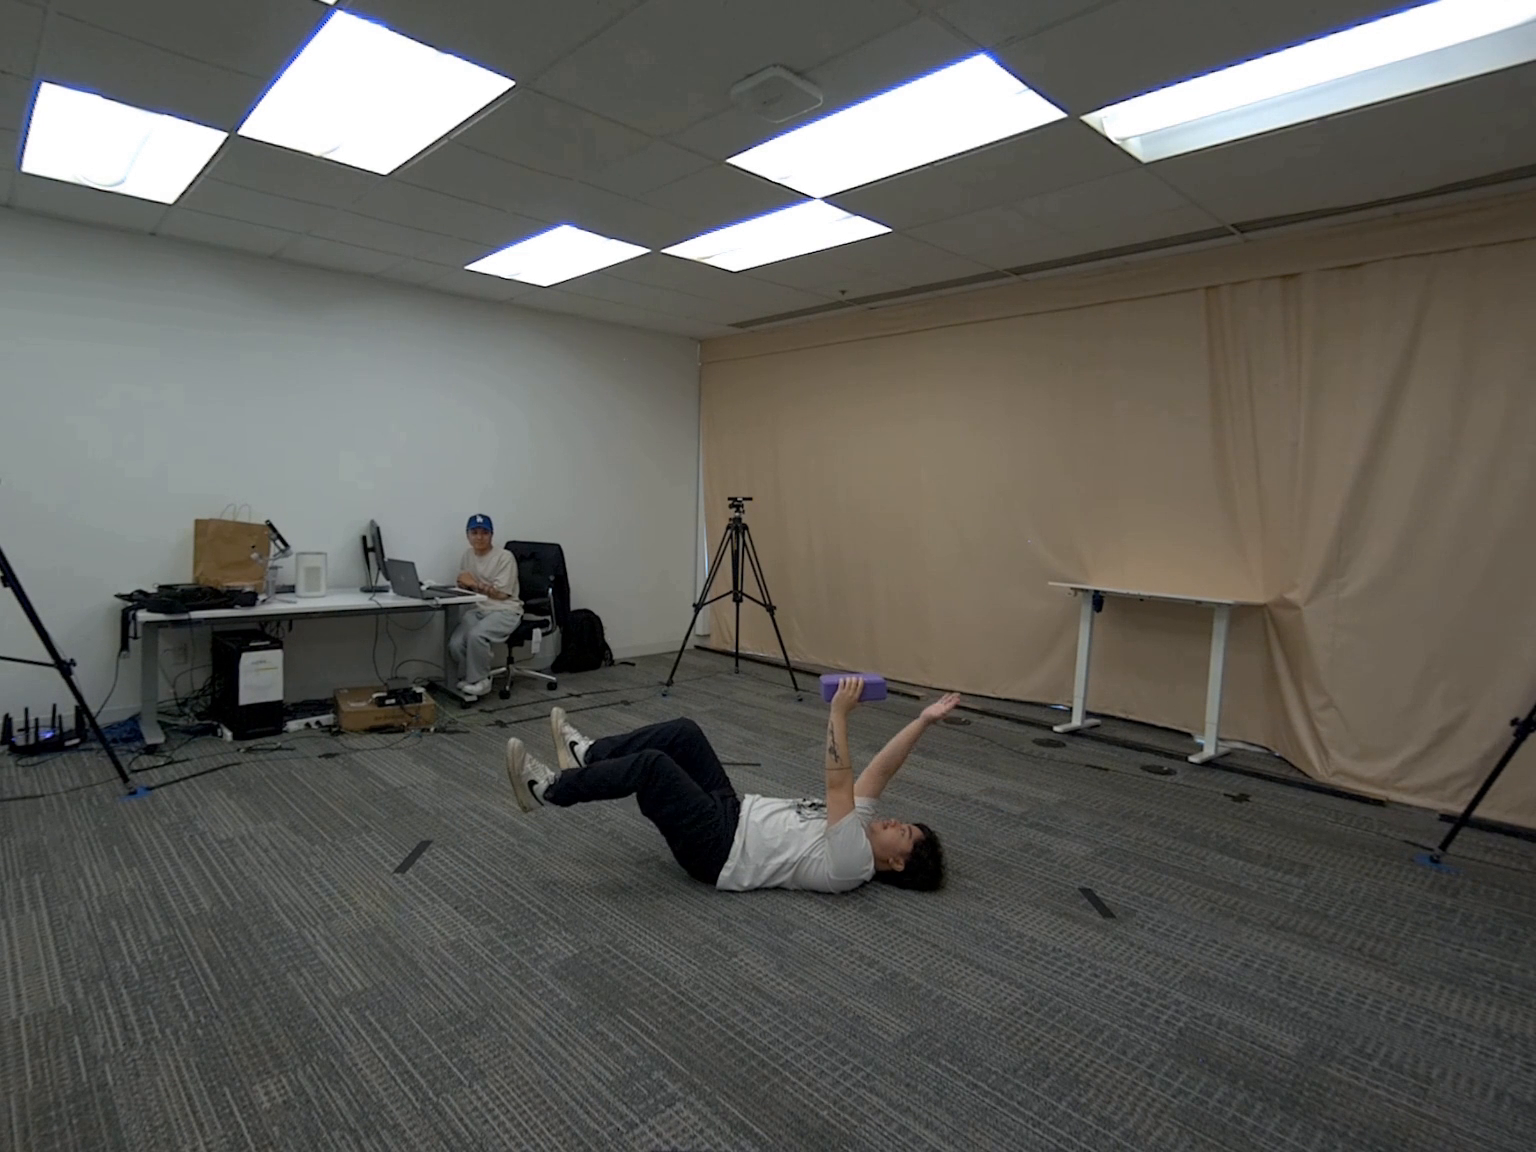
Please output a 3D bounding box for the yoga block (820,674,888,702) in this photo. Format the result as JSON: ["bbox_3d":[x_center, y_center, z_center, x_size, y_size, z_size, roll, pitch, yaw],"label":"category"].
[{"bbox_3d":[0.322,0.417,3.127,0.229,0.076,0.149,-4,4,1],"label":"yoga block"}]
